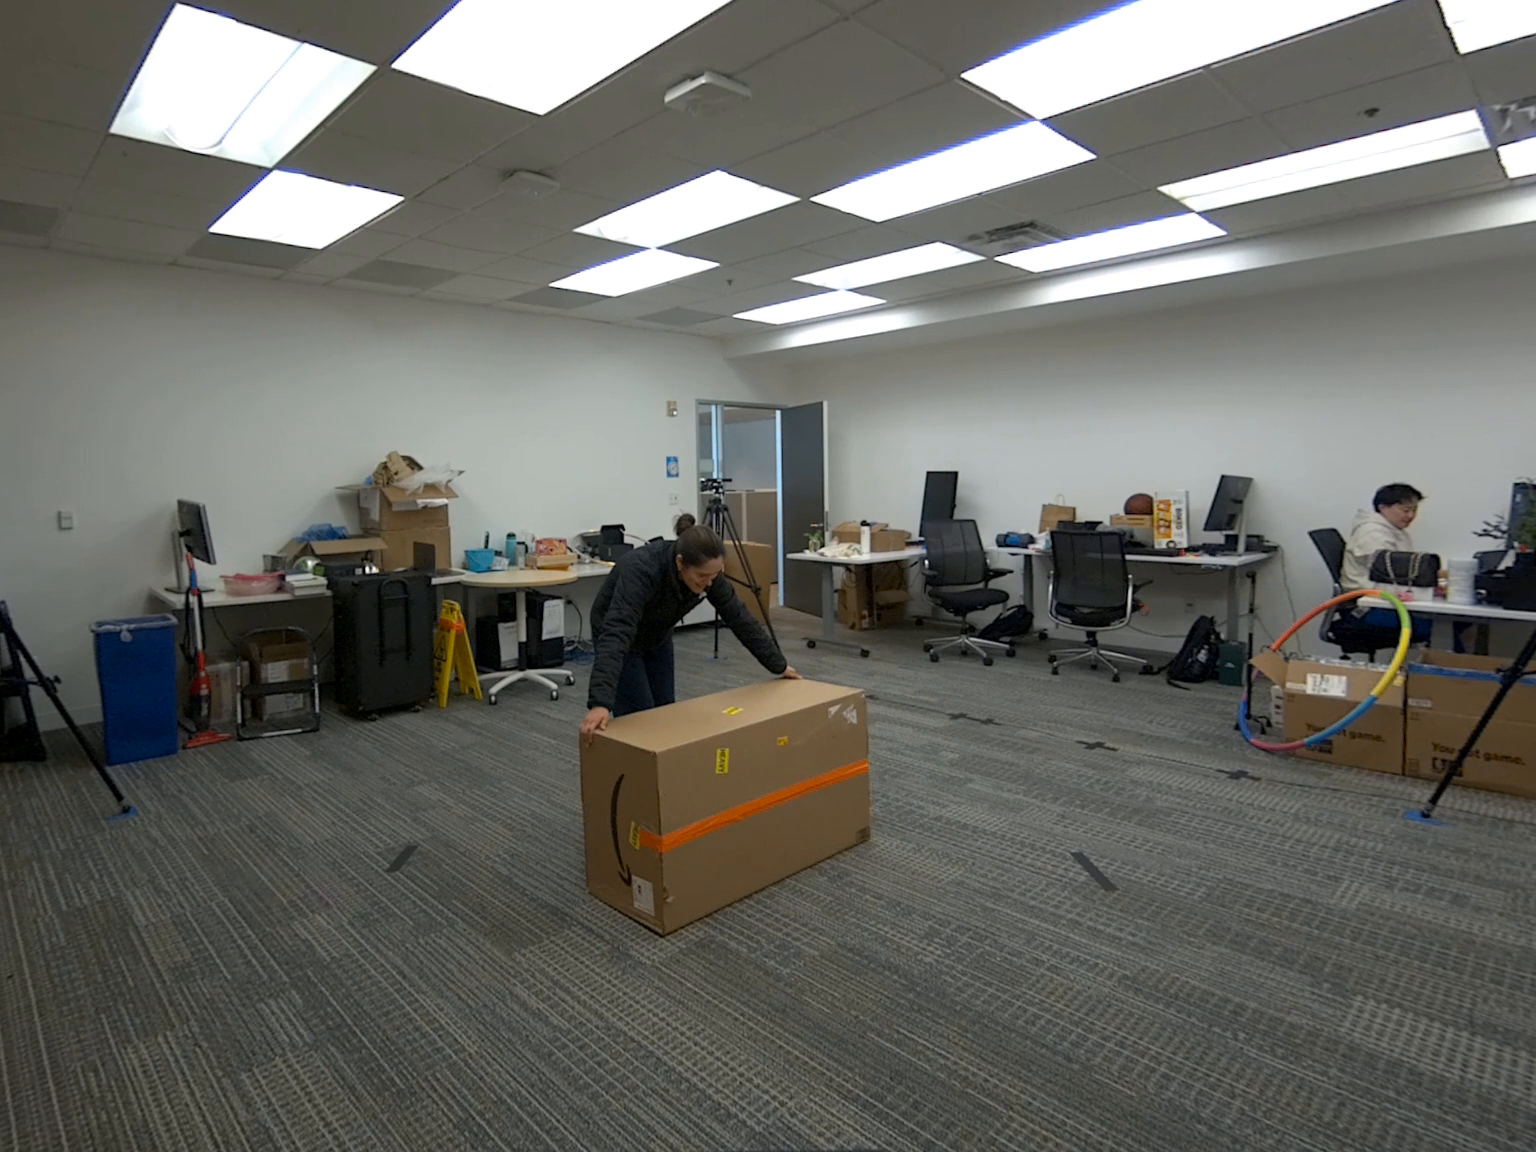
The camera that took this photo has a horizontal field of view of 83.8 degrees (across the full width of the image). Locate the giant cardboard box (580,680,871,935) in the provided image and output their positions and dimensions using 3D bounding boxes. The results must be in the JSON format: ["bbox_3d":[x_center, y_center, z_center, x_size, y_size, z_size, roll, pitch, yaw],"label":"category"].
[{"bbox_3d":[-0.120,0.760,3.092,0.460,0.581,1.000,3,7,45],"label":"giant cardboard box"}]
